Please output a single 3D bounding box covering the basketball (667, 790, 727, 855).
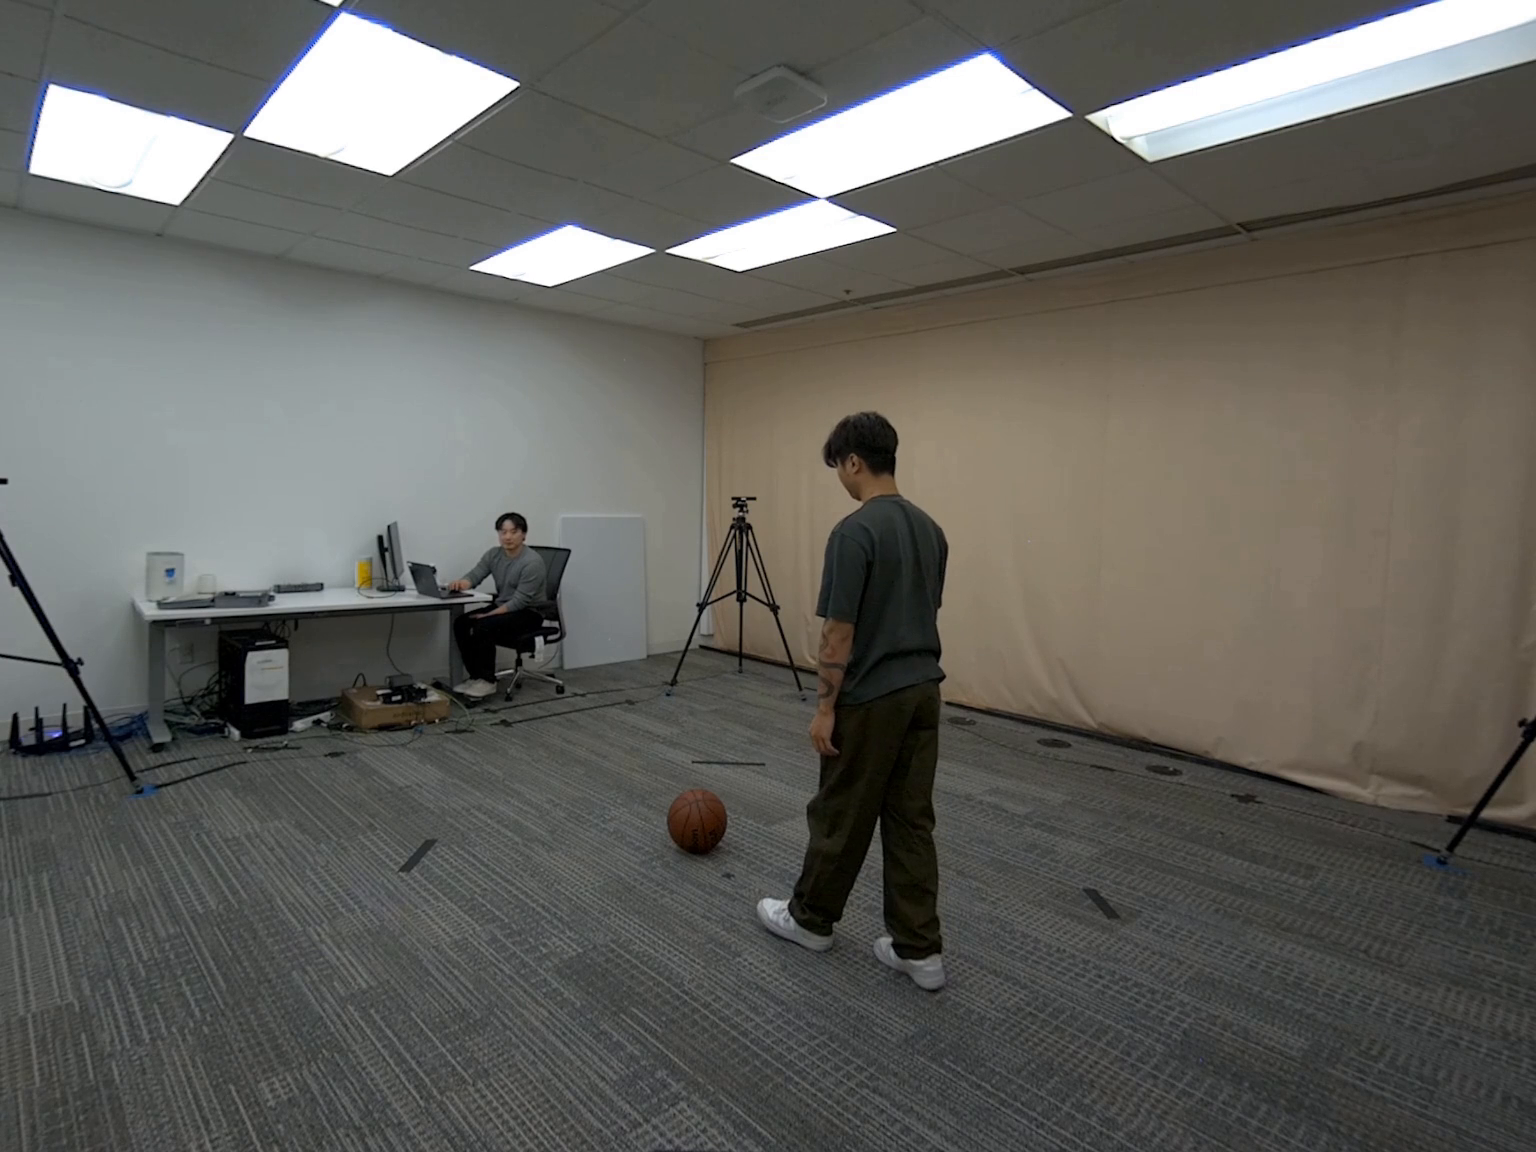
[{"bbox_3d":[-0.284,0.958,3.318,0.236,0.235,0.237,1,4,-1],"label":"basketball"}]
